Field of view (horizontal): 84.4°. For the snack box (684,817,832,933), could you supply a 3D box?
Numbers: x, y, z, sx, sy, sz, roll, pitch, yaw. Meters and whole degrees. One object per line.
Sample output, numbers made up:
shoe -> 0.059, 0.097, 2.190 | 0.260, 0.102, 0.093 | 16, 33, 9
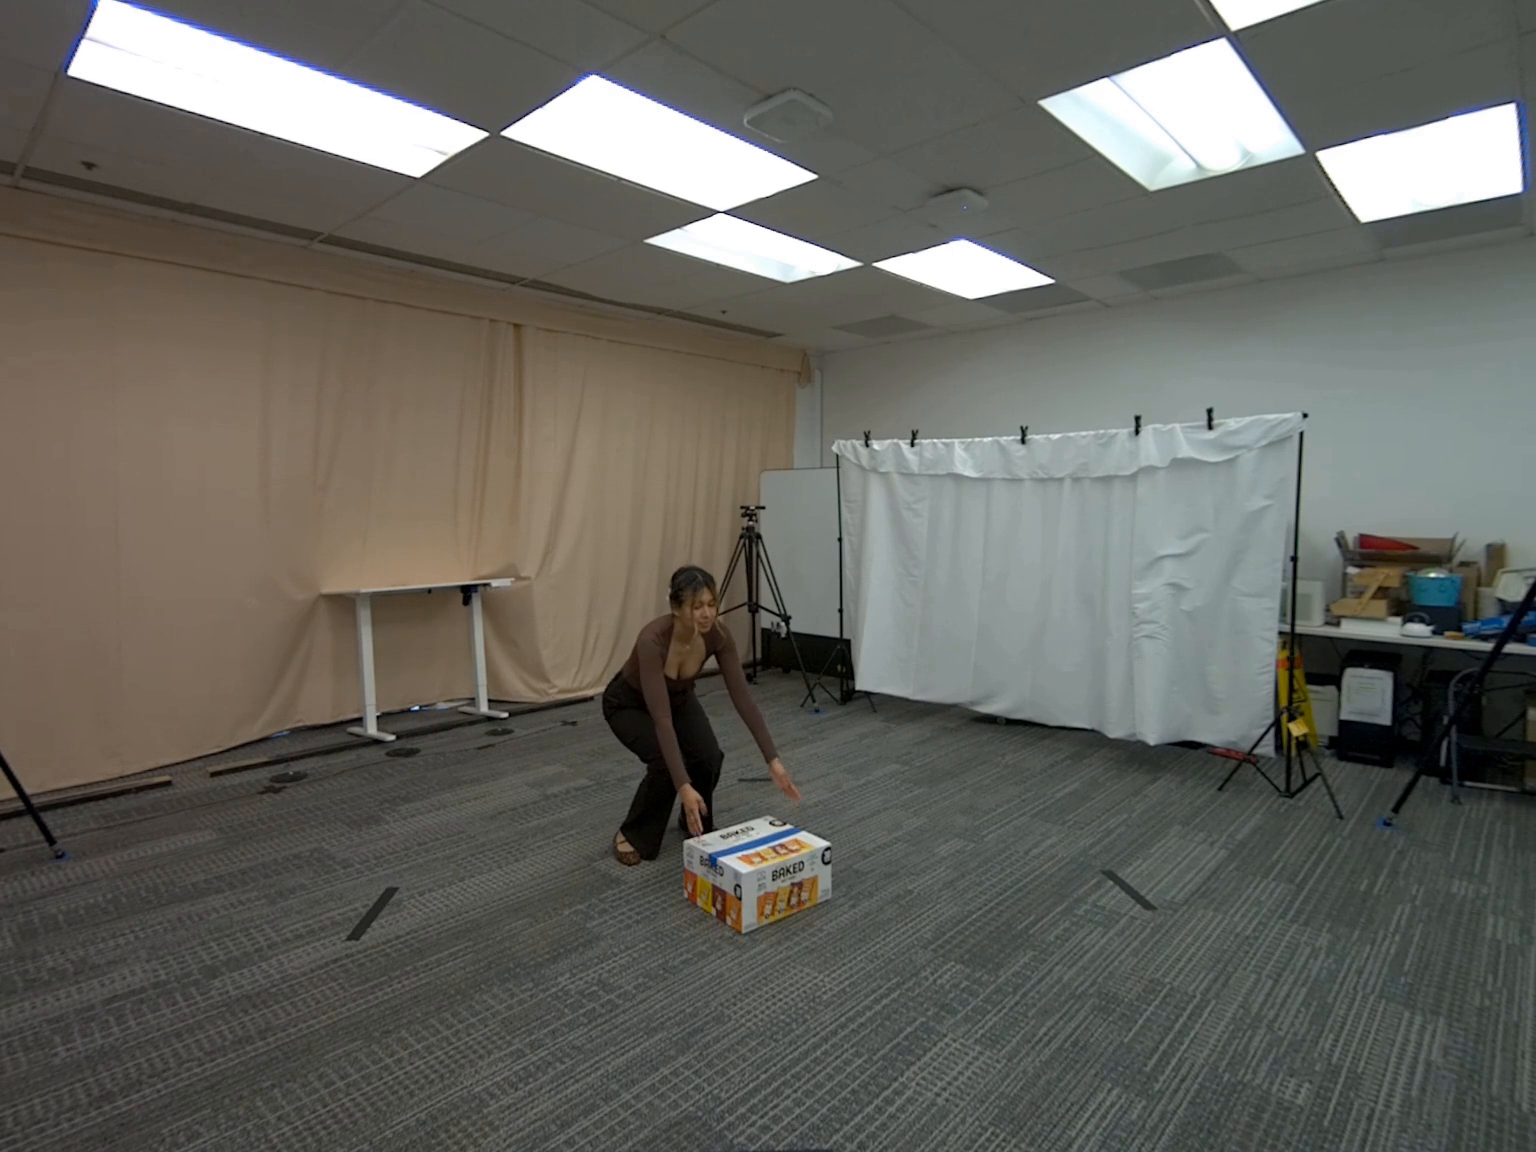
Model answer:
snack box -> -0.034, 1.042, 2.981 | 0.393, 0.205, 0.351 | -4, 6, -39
